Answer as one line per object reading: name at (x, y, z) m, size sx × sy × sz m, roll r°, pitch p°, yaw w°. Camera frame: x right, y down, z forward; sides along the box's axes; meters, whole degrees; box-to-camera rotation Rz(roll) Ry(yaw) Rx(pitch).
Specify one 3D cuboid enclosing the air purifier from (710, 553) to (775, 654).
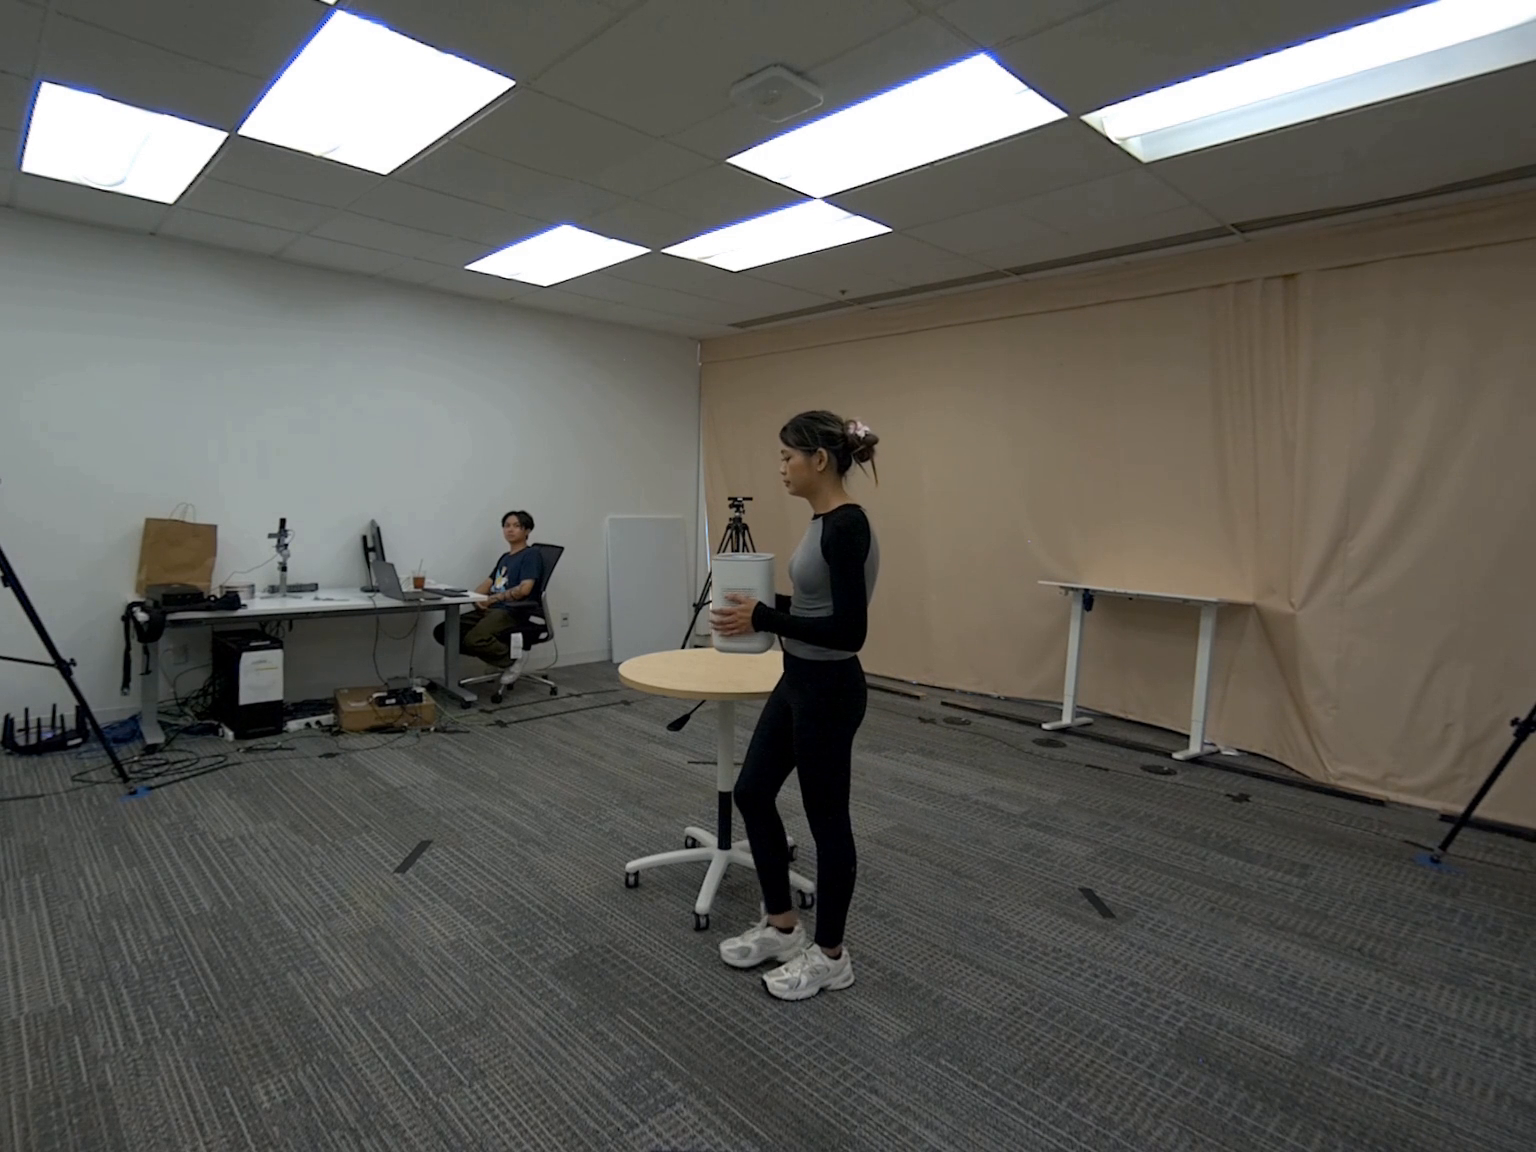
air purifier at (-0.068, 0.078, 2.361) m, size 0.173 × 0.264 × 0.170 m, roll 1°, pitch 5°, yaw 13°
